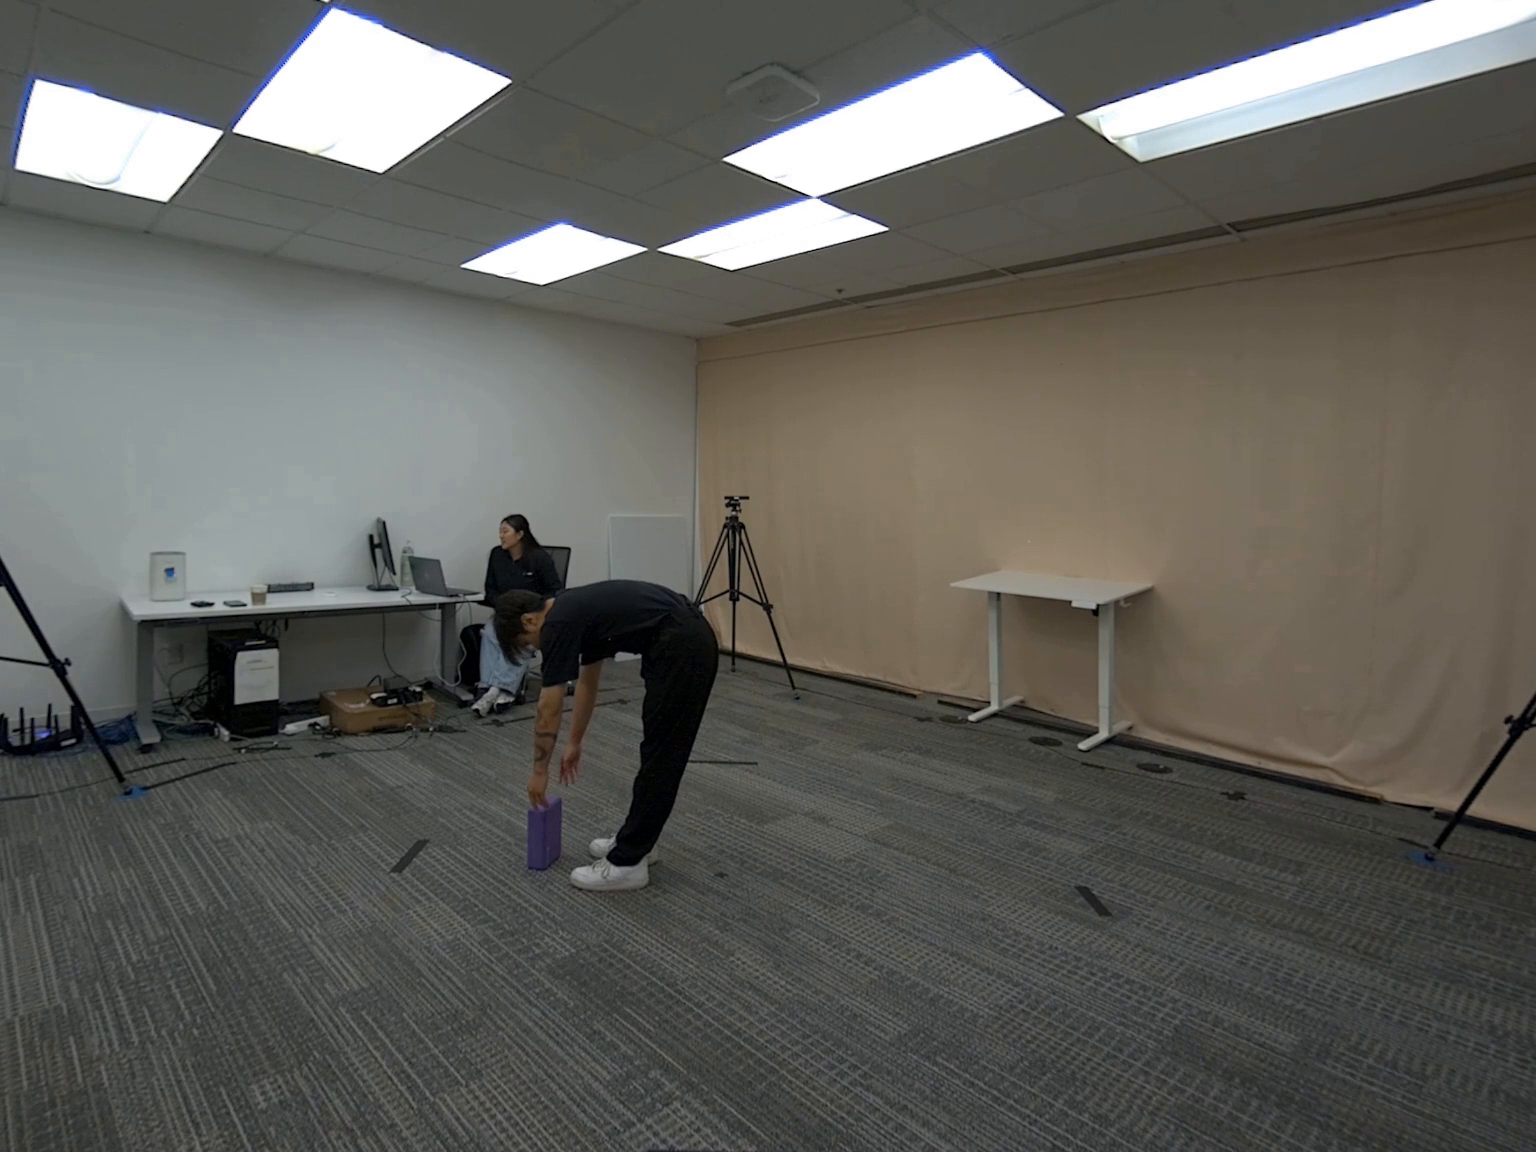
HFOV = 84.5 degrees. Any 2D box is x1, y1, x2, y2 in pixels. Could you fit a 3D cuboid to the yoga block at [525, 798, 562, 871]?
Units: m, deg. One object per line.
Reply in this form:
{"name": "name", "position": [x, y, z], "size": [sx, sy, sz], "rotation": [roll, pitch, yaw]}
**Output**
{"name": "yoga block", "position": [-0.841, 0.964, 3.172], "size": [0.077, 0.229, 0.148], "rotation": [2, 3, 10]}
